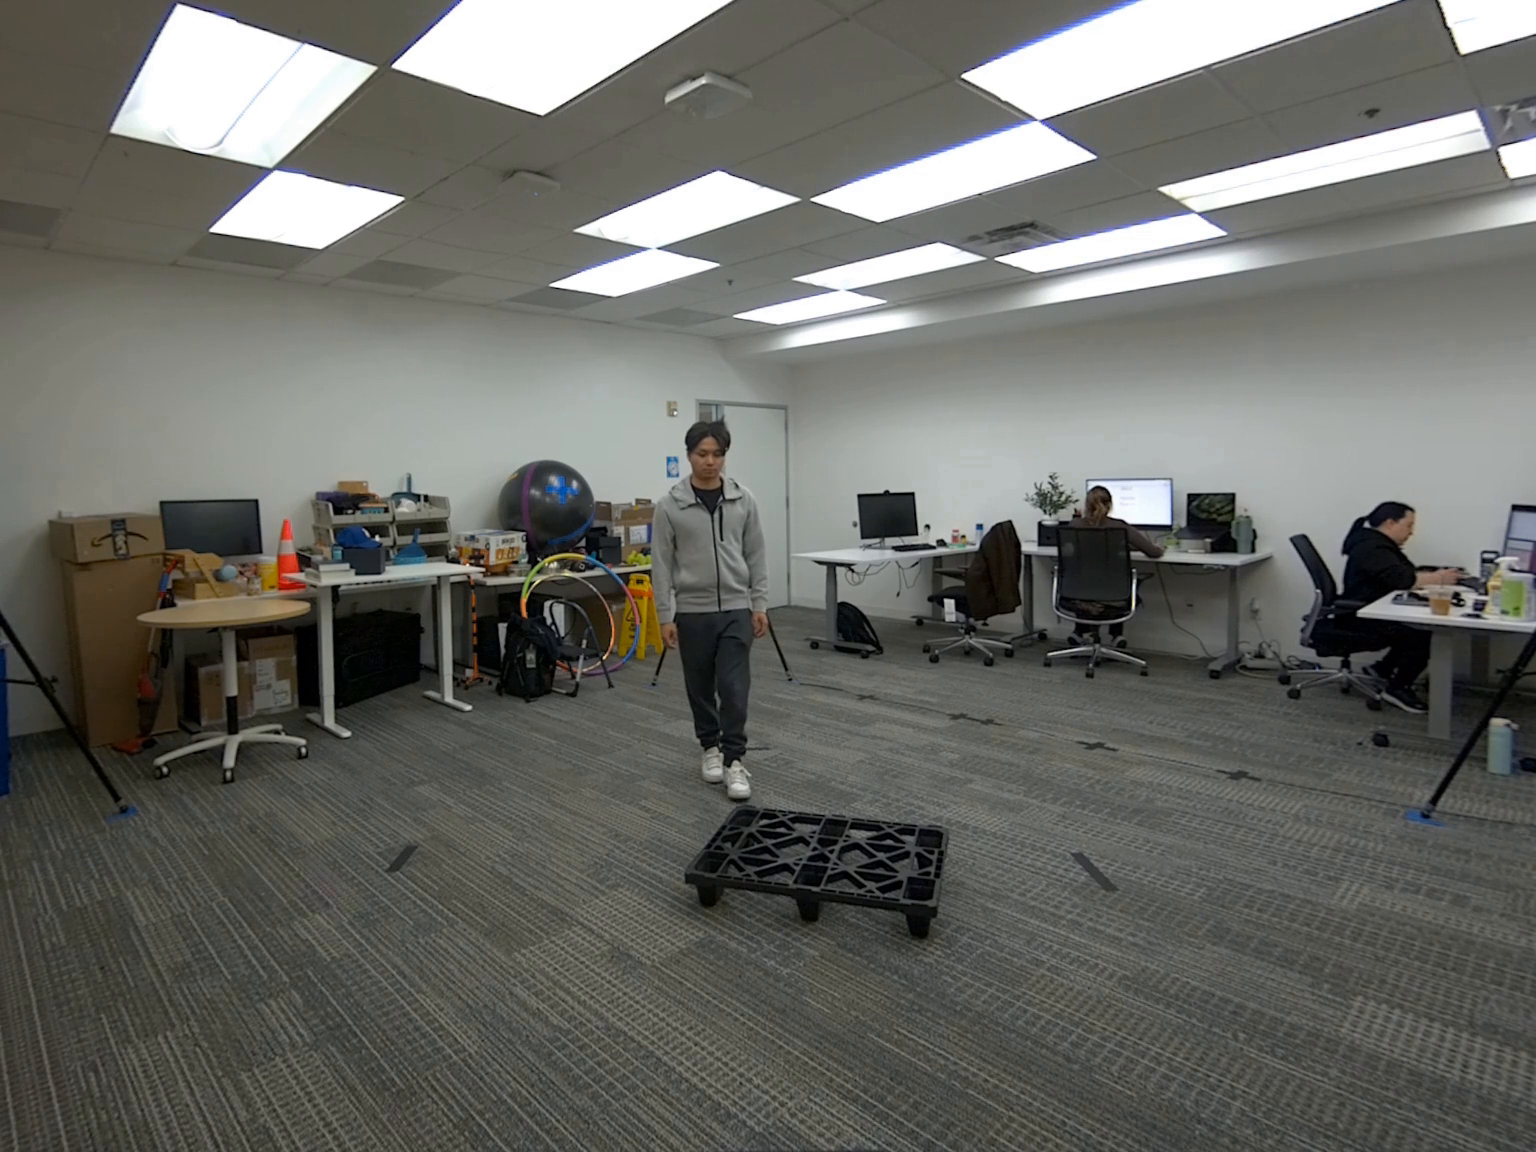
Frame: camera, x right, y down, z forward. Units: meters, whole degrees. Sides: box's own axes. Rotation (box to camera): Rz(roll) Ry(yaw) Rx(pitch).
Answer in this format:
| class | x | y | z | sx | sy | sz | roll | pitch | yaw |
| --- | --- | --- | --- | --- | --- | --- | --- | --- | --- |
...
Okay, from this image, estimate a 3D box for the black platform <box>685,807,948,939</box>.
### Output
| class | x | y | z | sx | sy | sz | roll | pitch | yaw |
| --- | --- | --- | --- | --- | --- | --- | --- | --- | --- |
| black platform | 0.189 | 0.992 | 2.921 | 0.819 | 0.143 | 0.597 | 1 | 6 | 17 |
